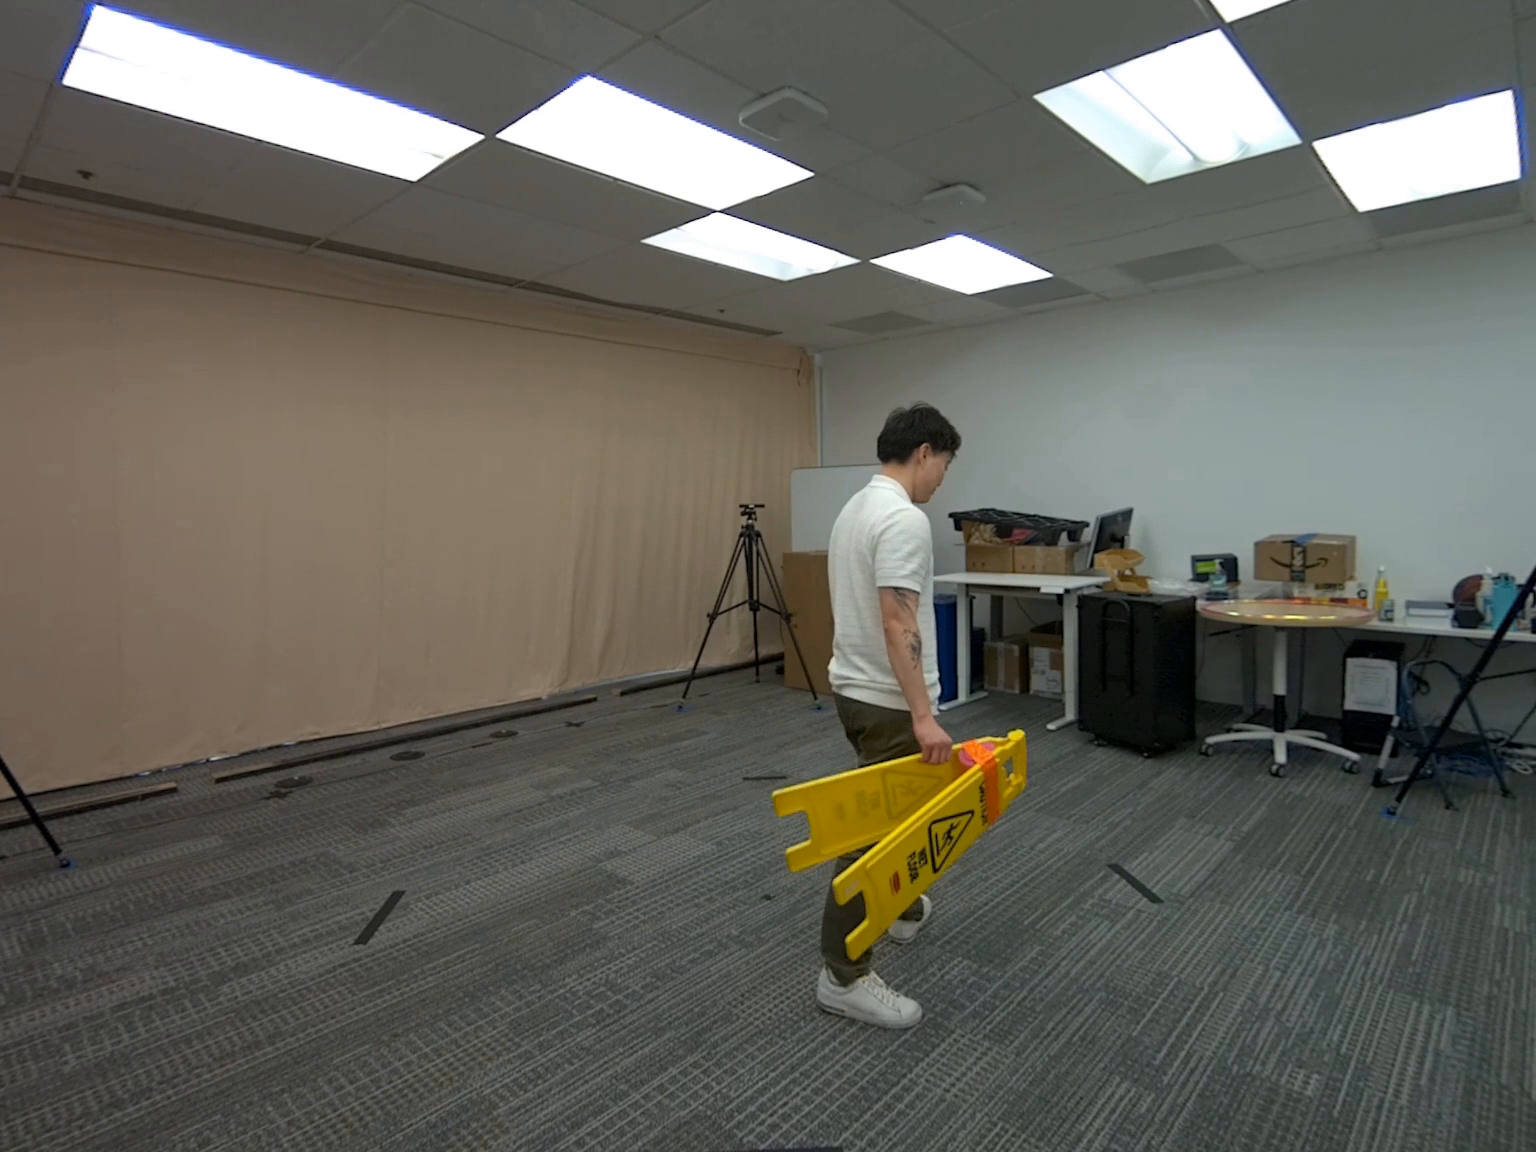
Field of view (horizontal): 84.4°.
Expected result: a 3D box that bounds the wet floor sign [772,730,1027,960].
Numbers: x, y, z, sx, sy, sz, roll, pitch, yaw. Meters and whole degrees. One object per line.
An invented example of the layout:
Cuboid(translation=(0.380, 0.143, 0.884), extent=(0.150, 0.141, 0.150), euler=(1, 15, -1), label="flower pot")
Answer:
Cuboid(translation=(0.386, 0.584, 2.086), extent=(0.638, 0.276, 0.300), euler=(-24, 34, -16), label="wet floor sign")
